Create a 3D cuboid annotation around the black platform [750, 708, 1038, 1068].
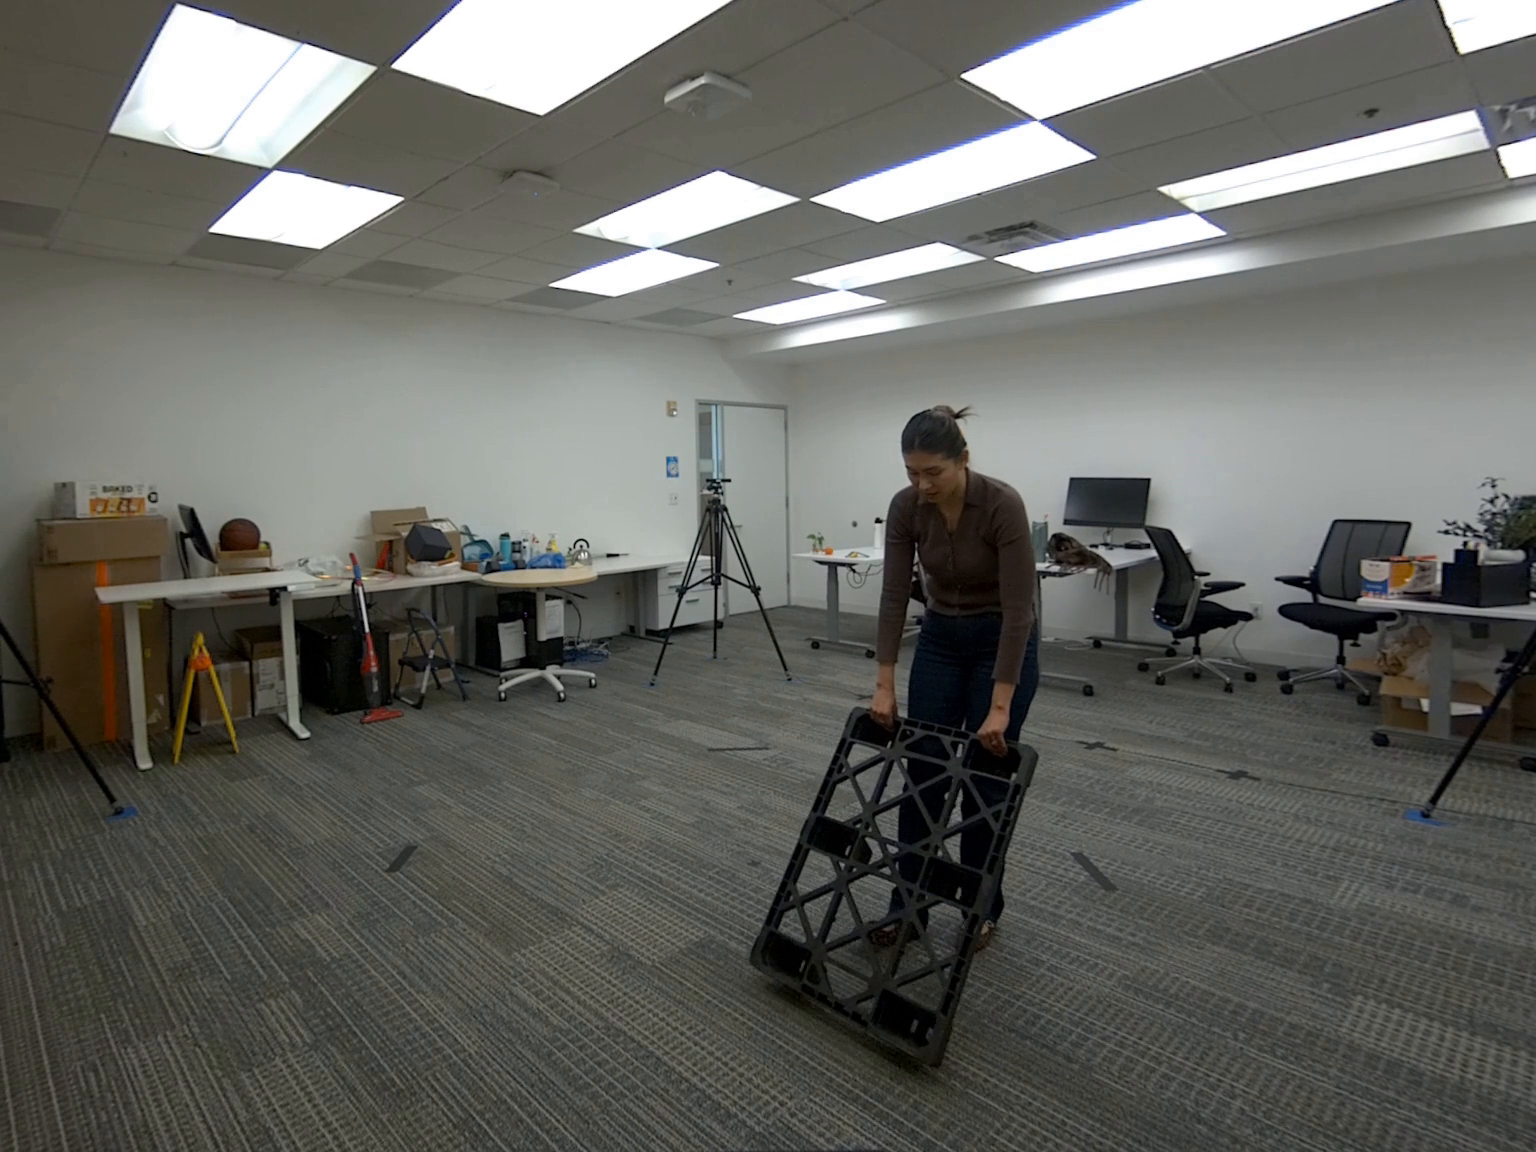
[{"bbox_3d":[0.363,0.793,2.333,0.624,0.811,0.138,5,-29,44],"label":"black platform"}]
